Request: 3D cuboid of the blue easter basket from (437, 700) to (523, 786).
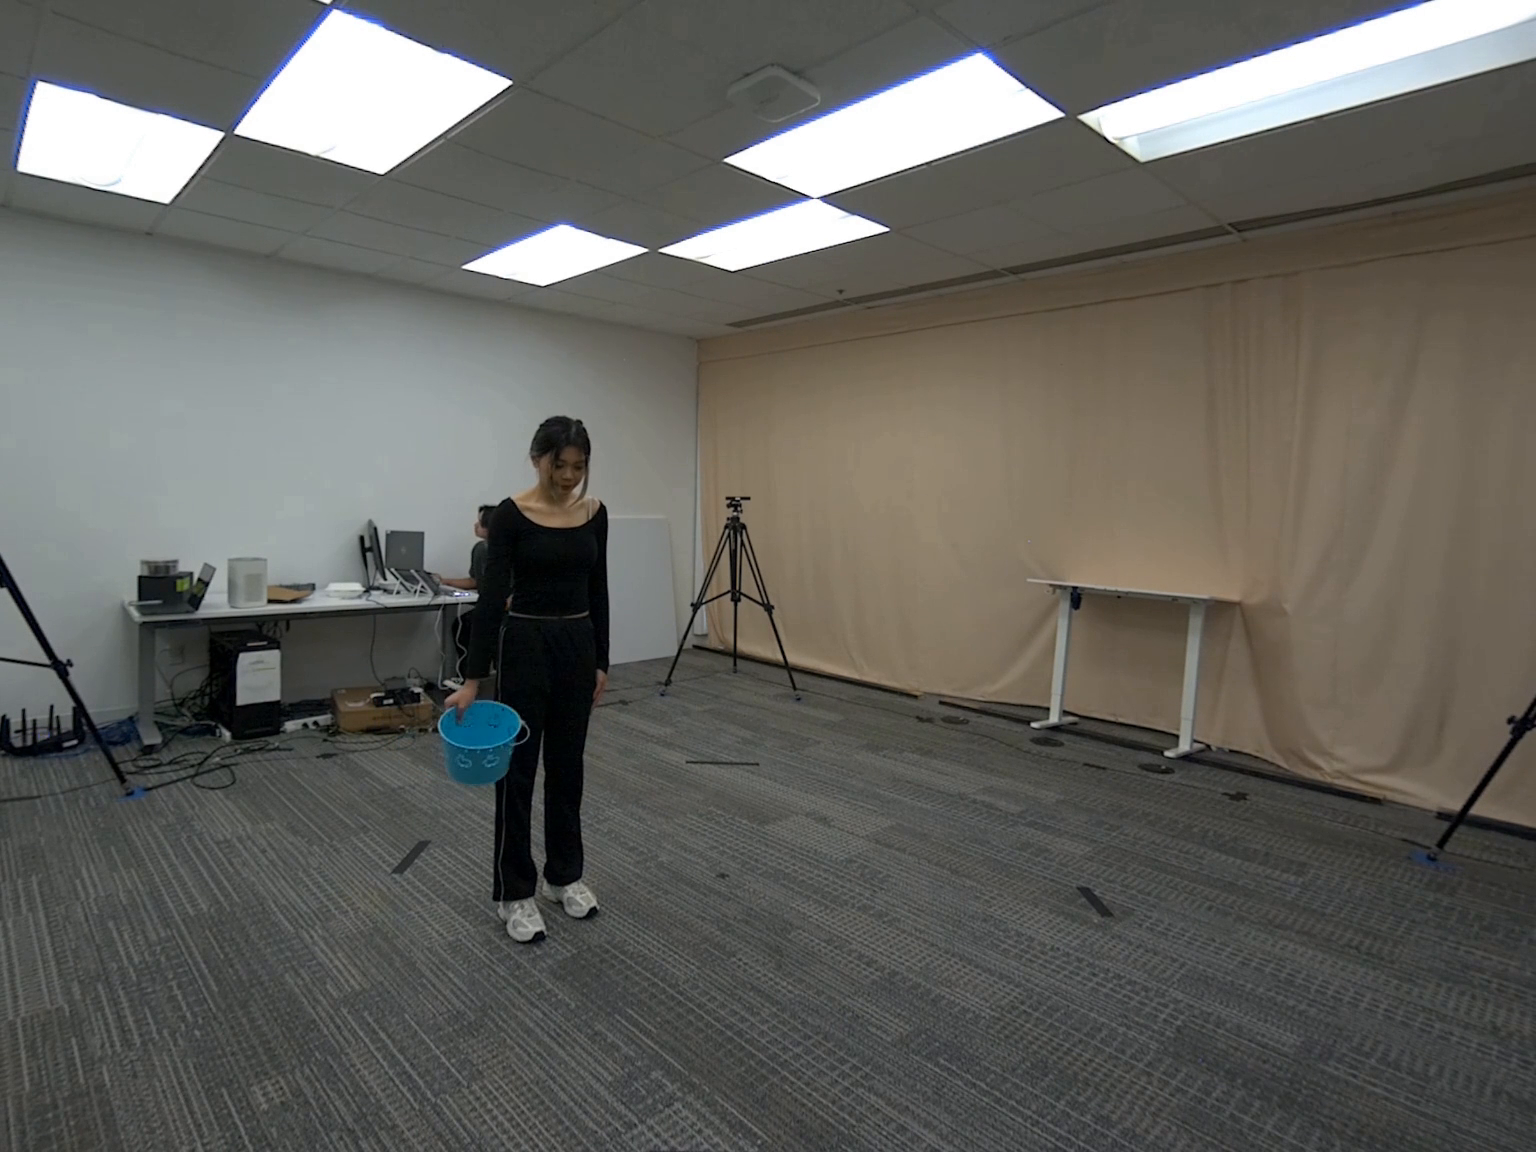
[{"bbox_3d":[-0.862,0.498,2.470,0.243,0.154,0.247,8,23,-5],"label":"blue easter basket"}]
